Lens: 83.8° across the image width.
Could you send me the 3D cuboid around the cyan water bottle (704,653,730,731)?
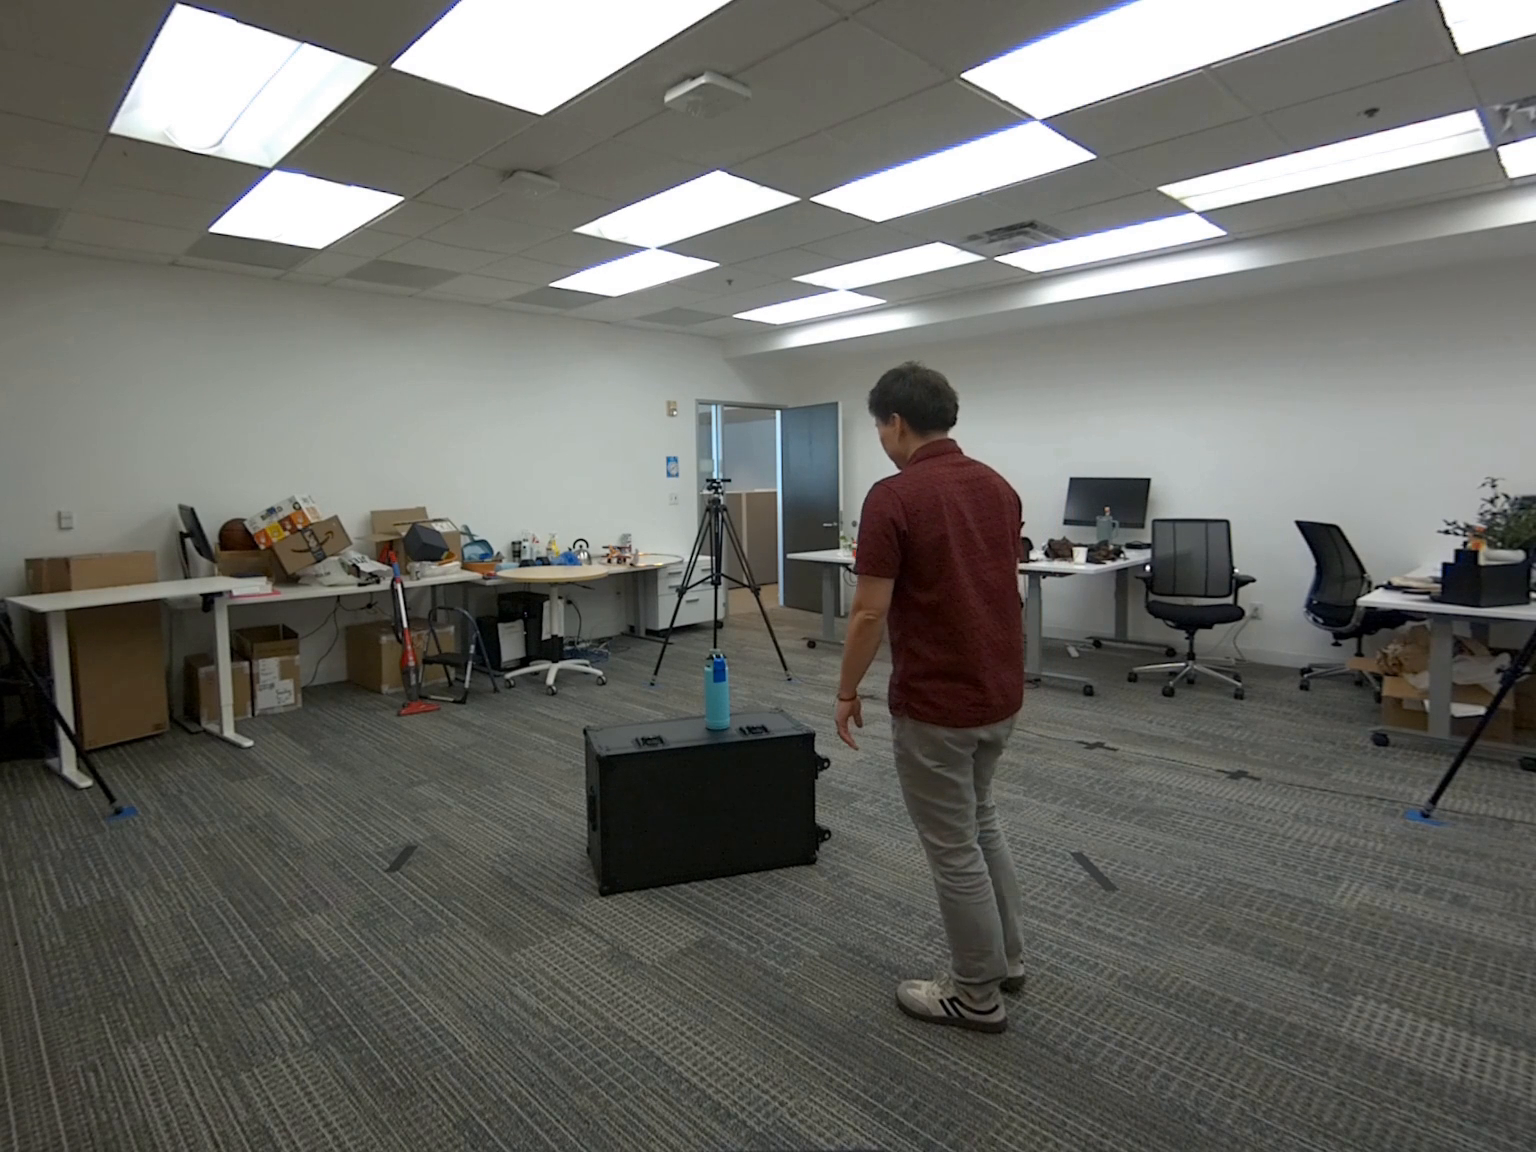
[{"bbox_3d":[-0.186,0.415,3.158,0.092,0.282,0.093,0,5,-2],"label":"cyan water bottle"}]
